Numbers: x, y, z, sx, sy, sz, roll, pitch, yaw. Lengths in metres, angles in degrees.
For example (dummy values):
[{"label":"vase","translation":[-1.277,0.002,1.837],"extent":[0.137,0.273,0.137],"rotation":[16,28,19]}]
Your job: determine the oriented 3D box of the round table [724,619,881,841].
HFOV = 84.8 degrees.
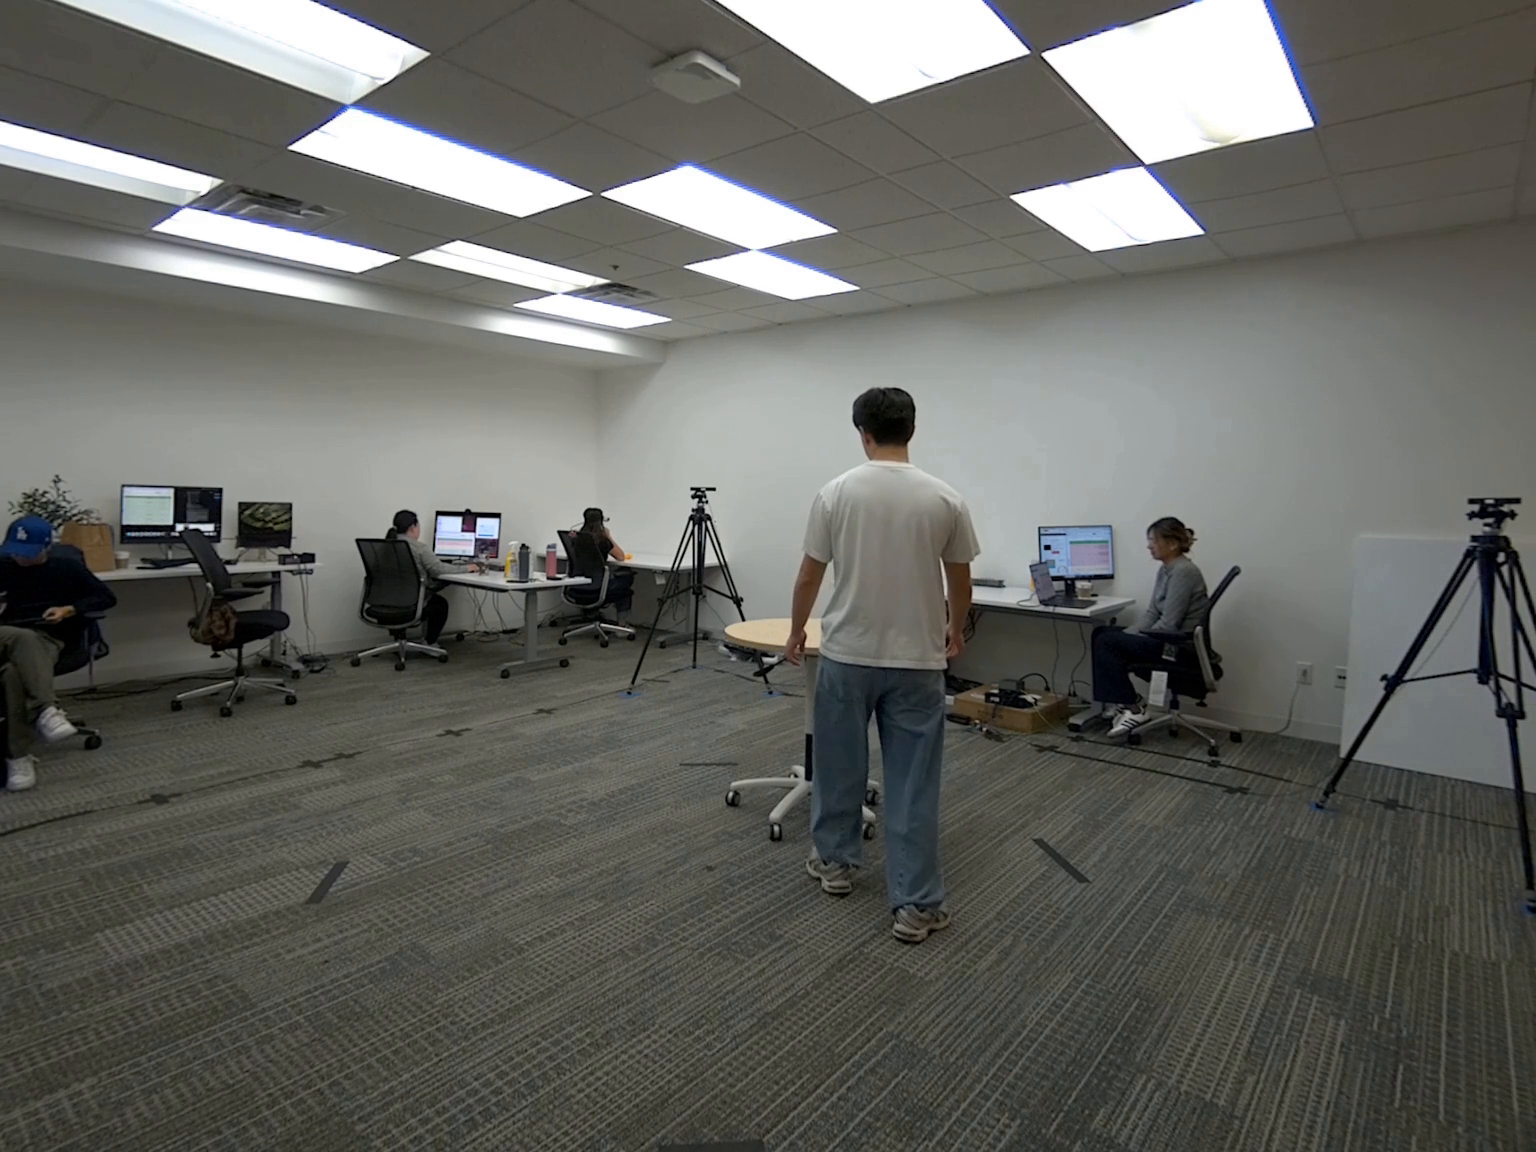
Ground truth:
[{"label":"round table","translation":[0.166,0.628,3.664],"extent":[0.763,0.791,0.768],"rotation":[1,4,-2]}]
